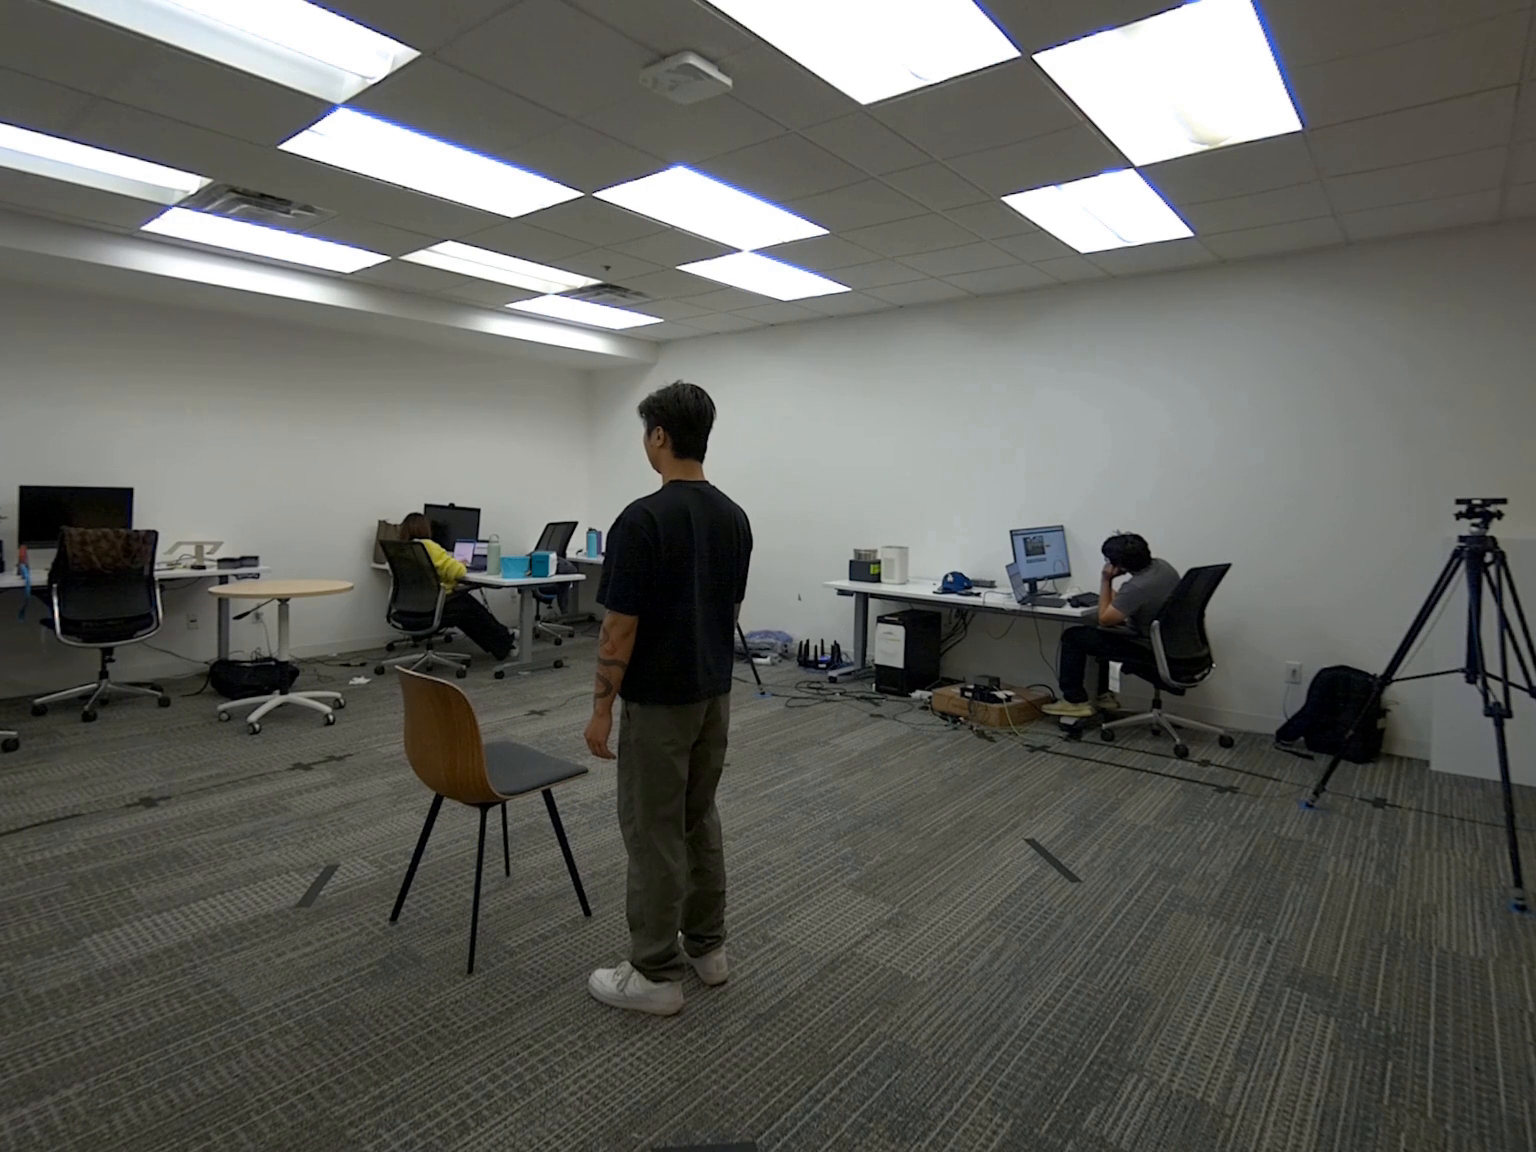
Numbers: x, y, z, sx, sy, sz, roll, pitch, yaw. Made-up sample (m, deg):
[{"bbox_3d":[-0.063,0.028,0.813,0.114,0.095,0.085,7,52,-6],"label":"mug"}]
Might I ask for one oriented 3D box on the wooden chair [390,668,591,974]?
[{"bbox_3d":[-0.884,0.672,2.705,0.494,0.872,0.509,3,8,39],"label":"wooden chair"}]
